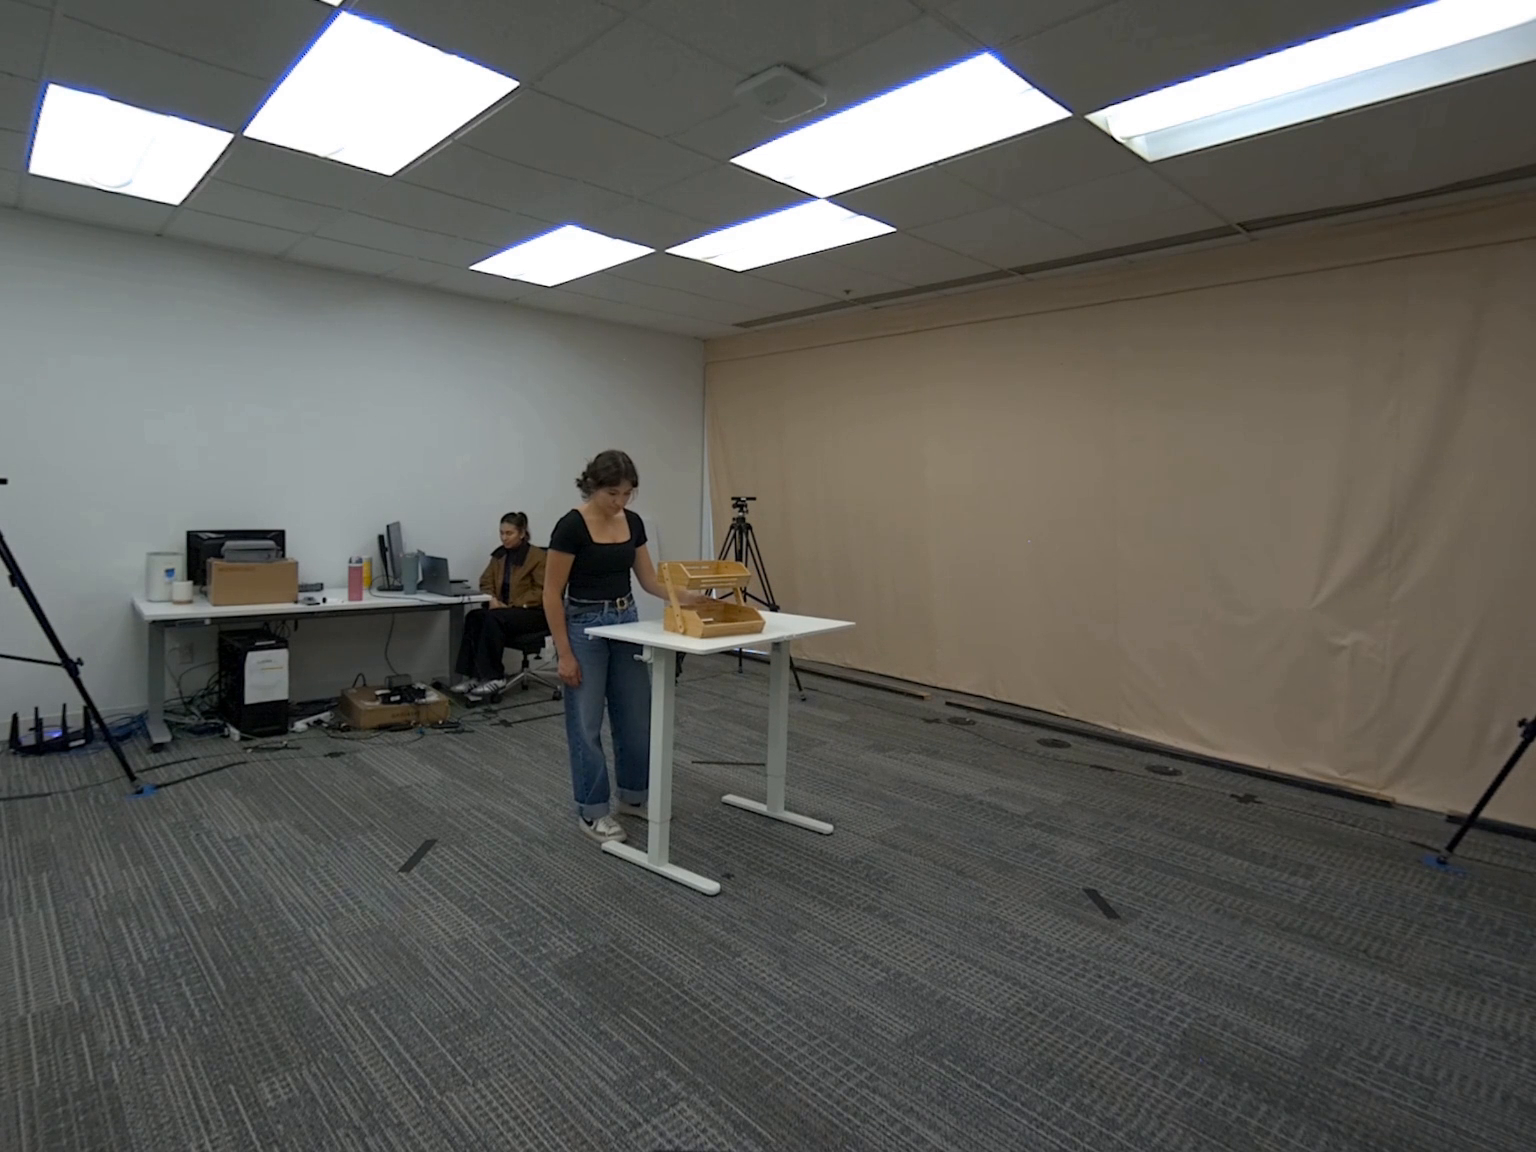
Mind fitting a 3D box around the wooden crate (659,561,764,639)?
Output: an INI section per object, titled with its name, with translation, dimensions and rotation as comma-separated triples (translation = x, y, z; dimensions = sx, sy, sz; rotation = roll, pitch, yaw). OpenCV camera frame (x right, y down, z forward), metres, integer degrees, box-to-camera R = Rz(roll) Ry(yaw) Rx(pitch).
[wooden crate]
translation = -0.224, 0.078, 3.226
dimensions = 0.317, 0.273, 0.309
rotation = -1, 4, -41
